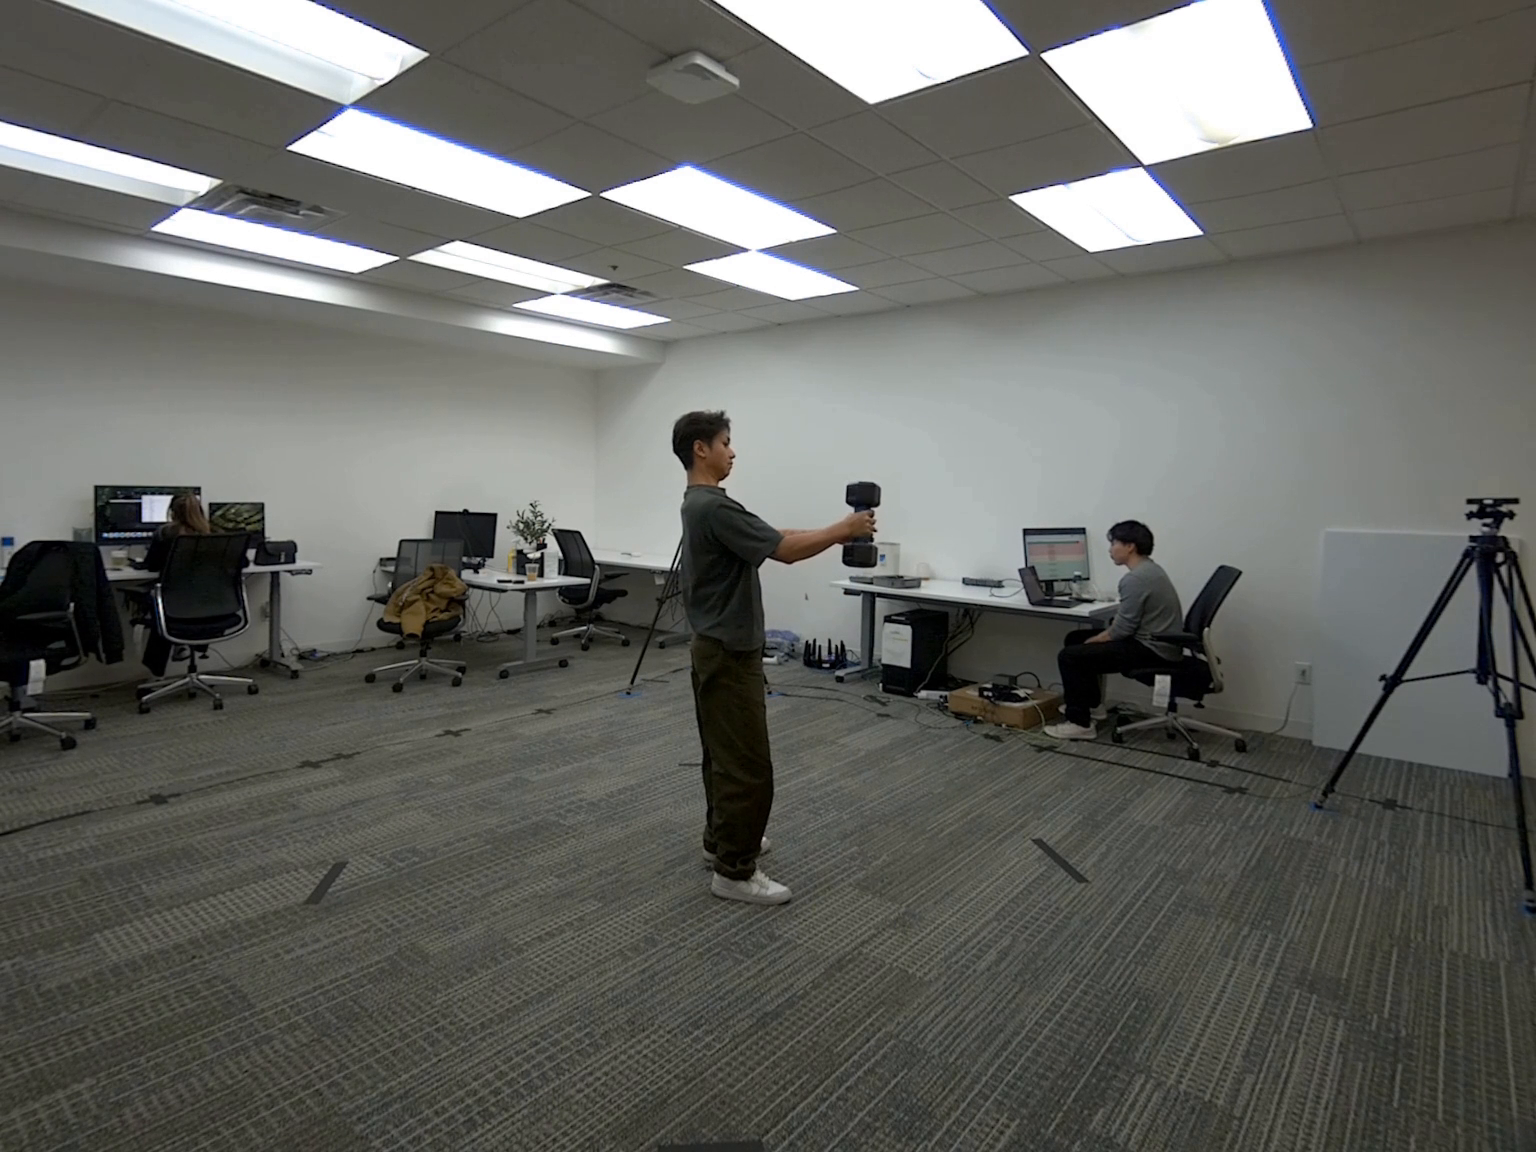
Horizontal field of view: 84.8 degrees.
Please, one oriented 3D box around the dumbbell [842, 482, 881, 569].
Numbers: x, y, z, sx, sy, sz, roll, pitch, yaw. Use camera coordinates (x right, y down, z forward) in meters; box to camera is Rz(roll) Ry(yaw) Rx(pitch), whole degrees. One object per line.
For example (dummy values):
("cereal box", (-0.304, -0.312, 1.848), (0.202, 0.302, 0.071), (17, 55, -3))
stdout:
("dumbbell", (0.316, -0.177, 2.949), (0.111, 0.295, 0.119), (0, -7, 20))
